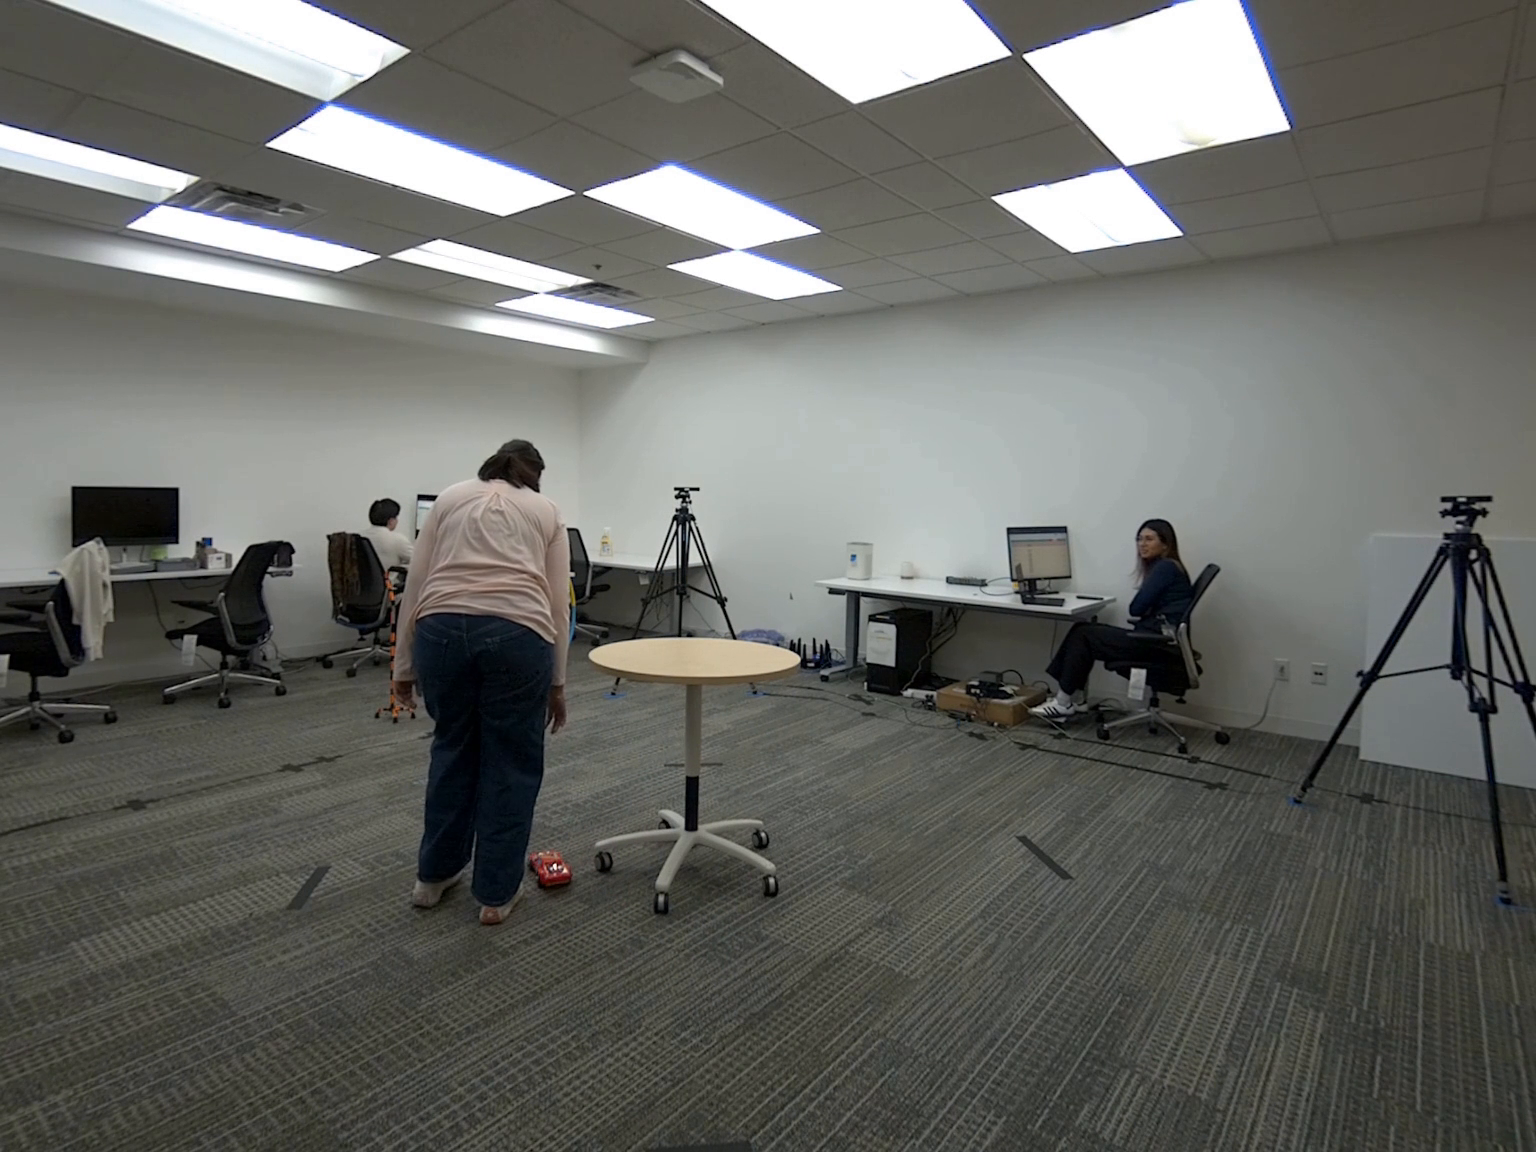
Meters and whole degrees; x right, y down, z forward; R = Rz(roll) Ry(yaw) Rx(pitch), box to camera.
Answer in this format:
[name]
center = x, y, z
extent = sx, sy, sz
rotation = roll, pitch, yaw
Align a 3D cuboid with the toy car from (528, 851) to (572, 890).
[toy car]
center = -0.785, 1.037, 3.008
extent = 0.127, 0.084, 0.259
rotation = -2, -5, -26
